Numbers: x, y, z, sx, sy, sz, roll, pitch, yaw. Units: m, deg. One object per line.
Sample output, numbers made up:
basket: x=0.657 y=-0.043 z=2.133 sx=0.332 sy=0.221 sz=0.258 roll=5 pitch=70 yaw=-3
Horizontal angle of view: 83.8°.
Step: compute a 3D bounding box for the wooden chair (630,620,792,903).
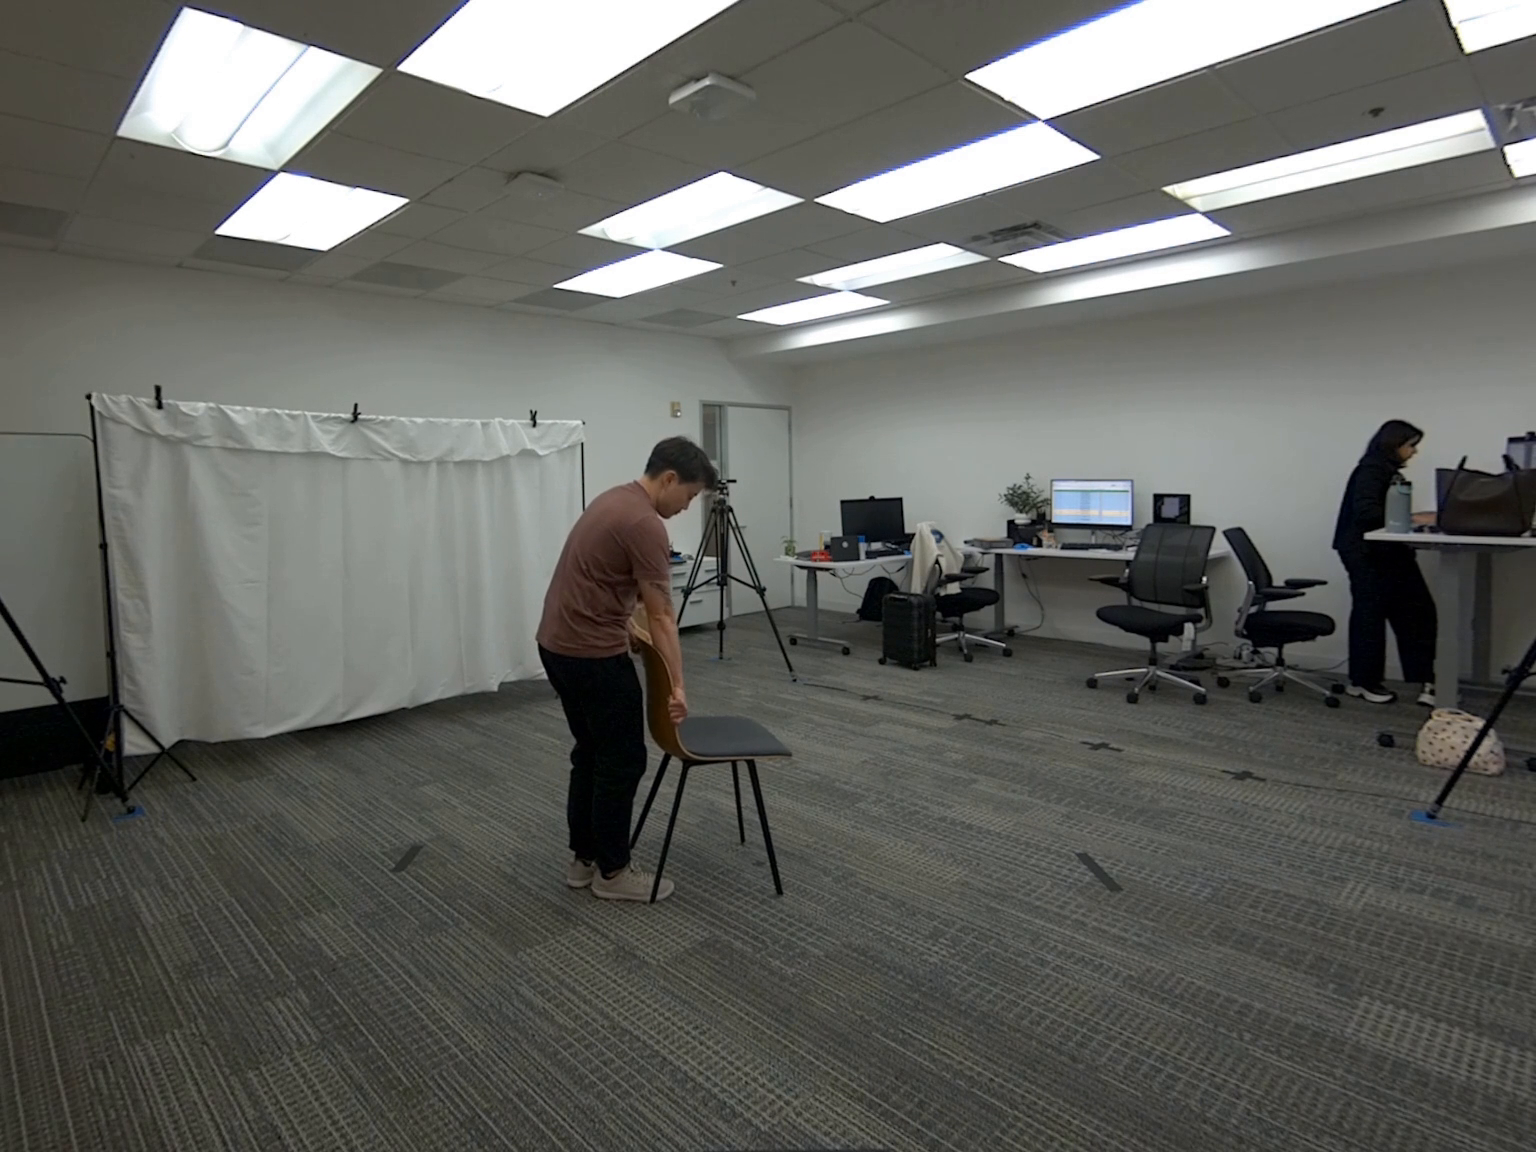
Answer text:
wooden chair: x=-0.203 y=0.618 z=3.008 sx=0.516 sy=0.875 sz=0.486 roll=-2 pitch=3 yaw=-16
